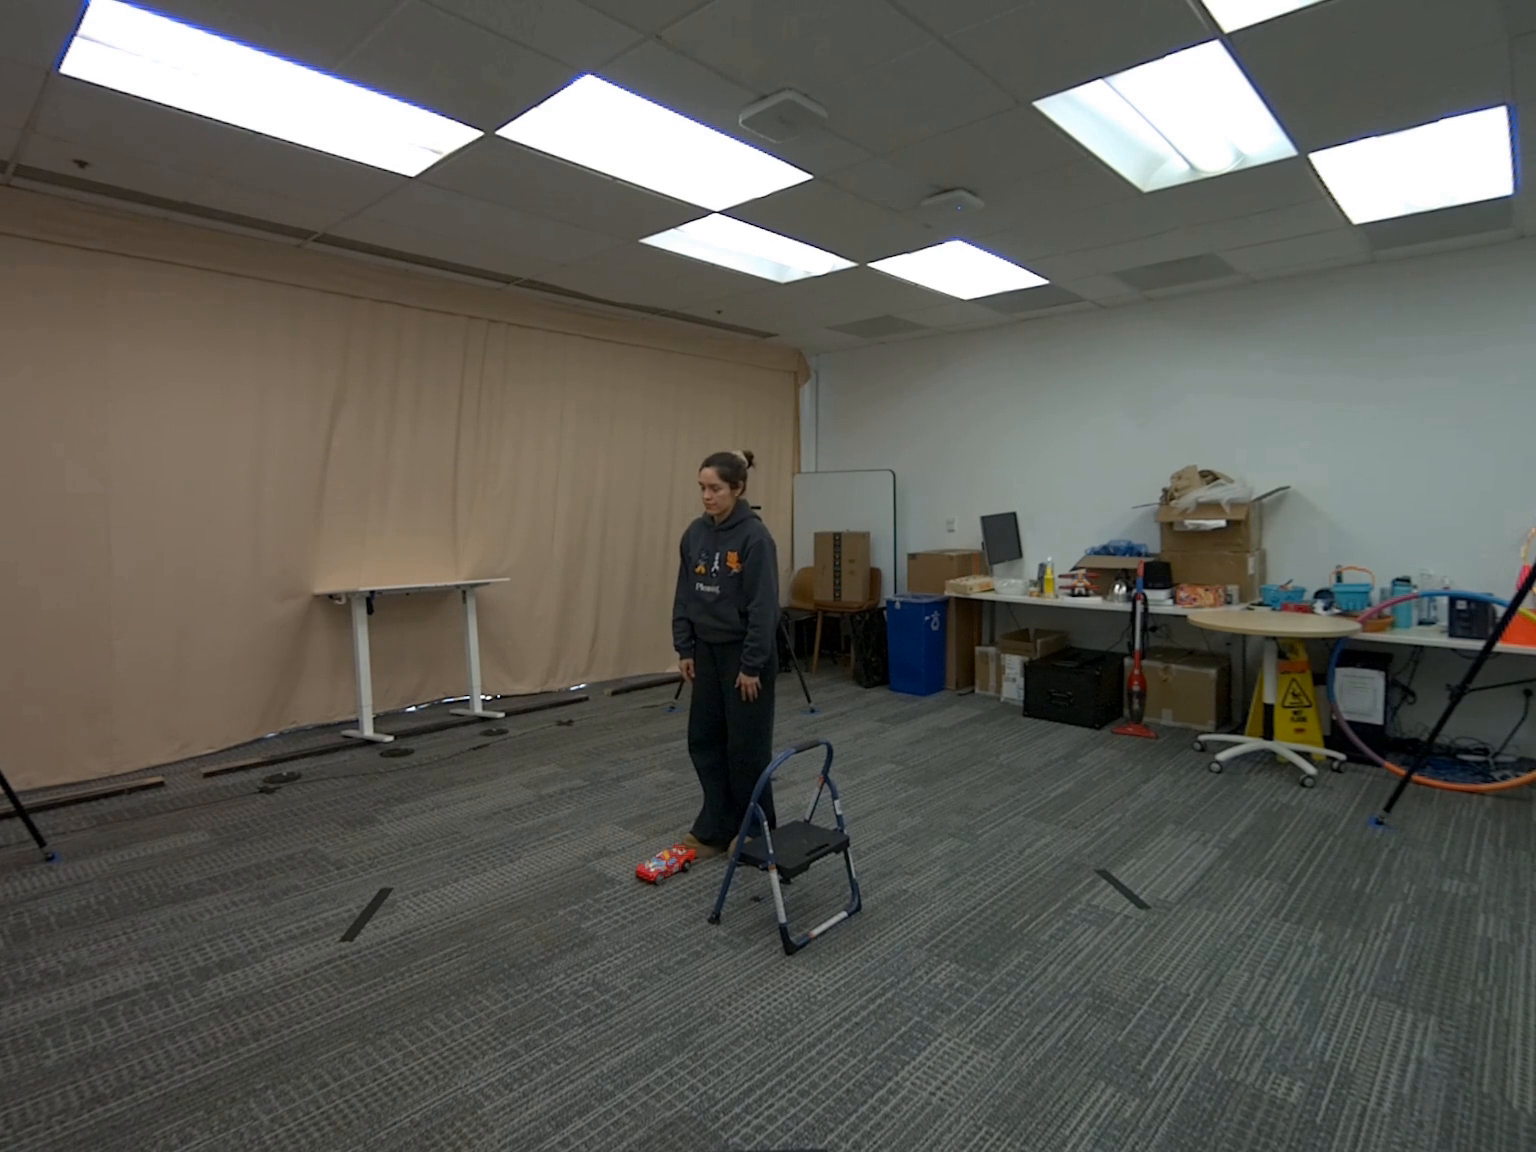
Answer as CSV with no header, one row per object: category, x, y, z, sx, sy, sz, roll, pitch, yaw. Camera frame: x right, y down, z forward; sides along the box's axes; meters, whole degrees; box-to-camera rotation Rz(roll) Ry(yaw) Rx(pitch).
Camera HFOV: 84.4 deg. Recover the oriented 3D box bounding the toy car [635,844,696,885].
toy car,-0.361,1.097,3.206,0.134,0.082,0.249,1,16,40
